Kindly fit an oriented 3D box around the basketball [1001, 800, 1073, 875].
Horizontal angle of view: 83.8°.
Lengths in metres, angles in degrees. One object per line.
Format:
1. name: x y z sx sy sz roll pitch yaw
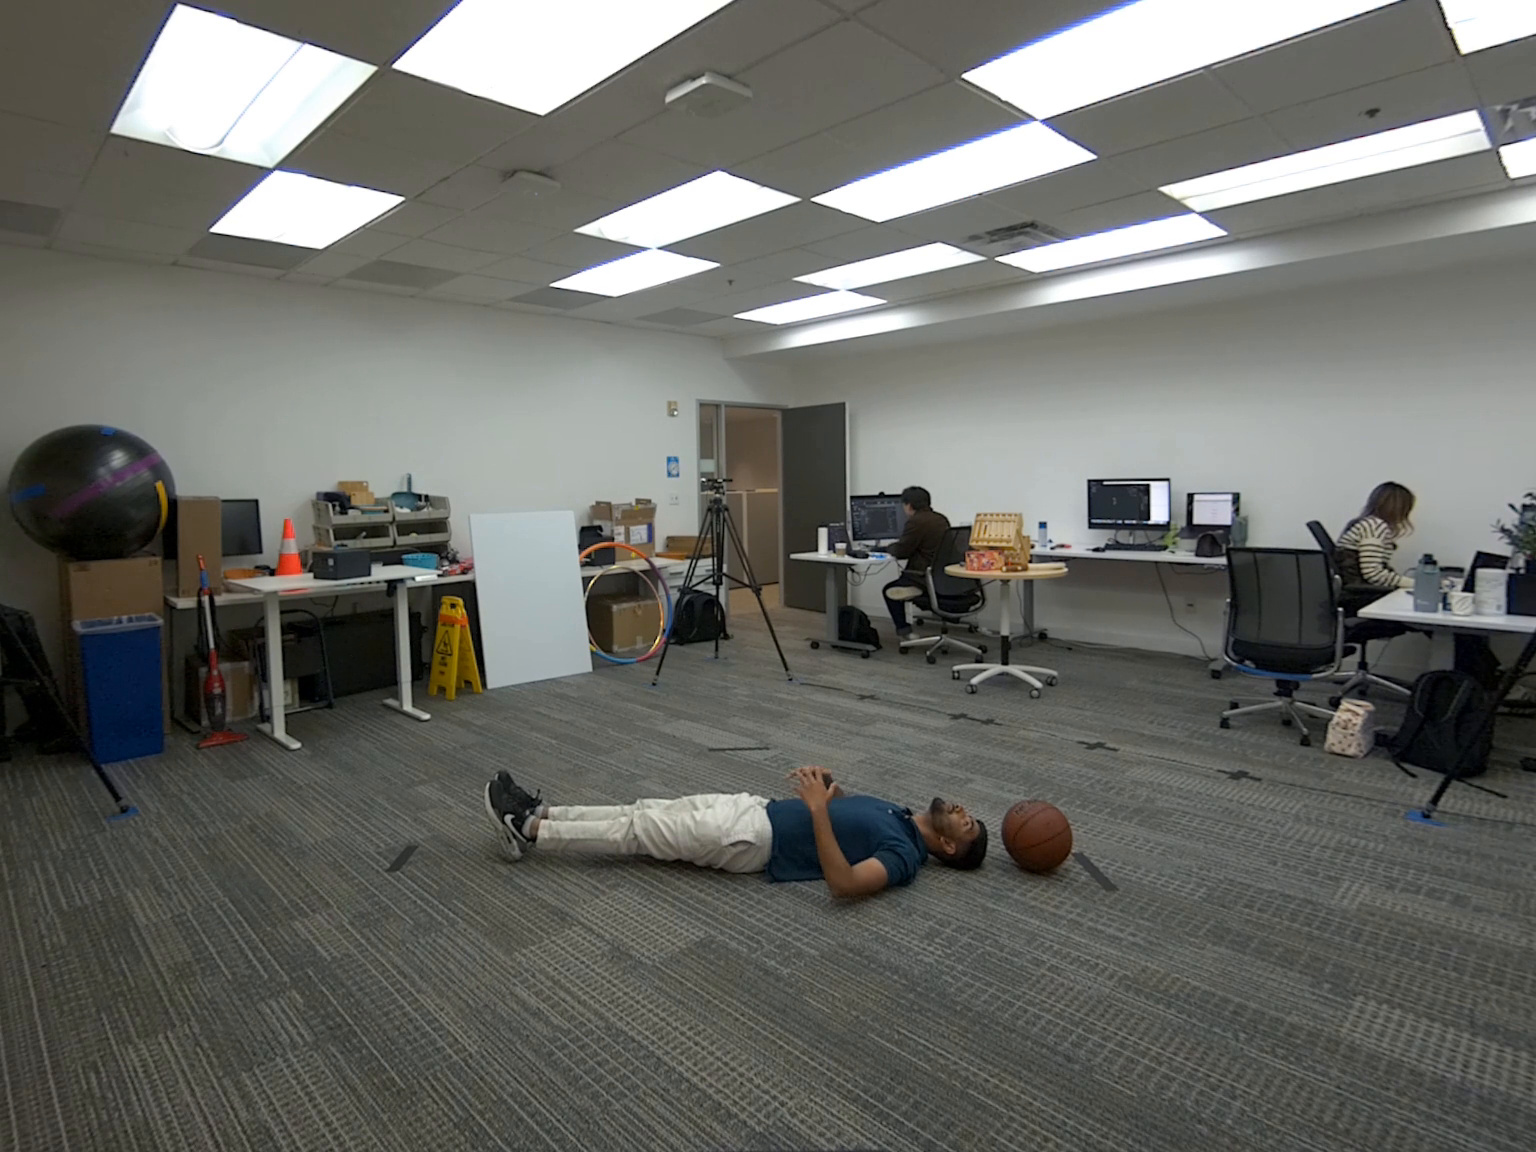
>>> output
1. basketball: 0.956 0.914 3.028 0.236 0.235 0.237 -1 5 -2
